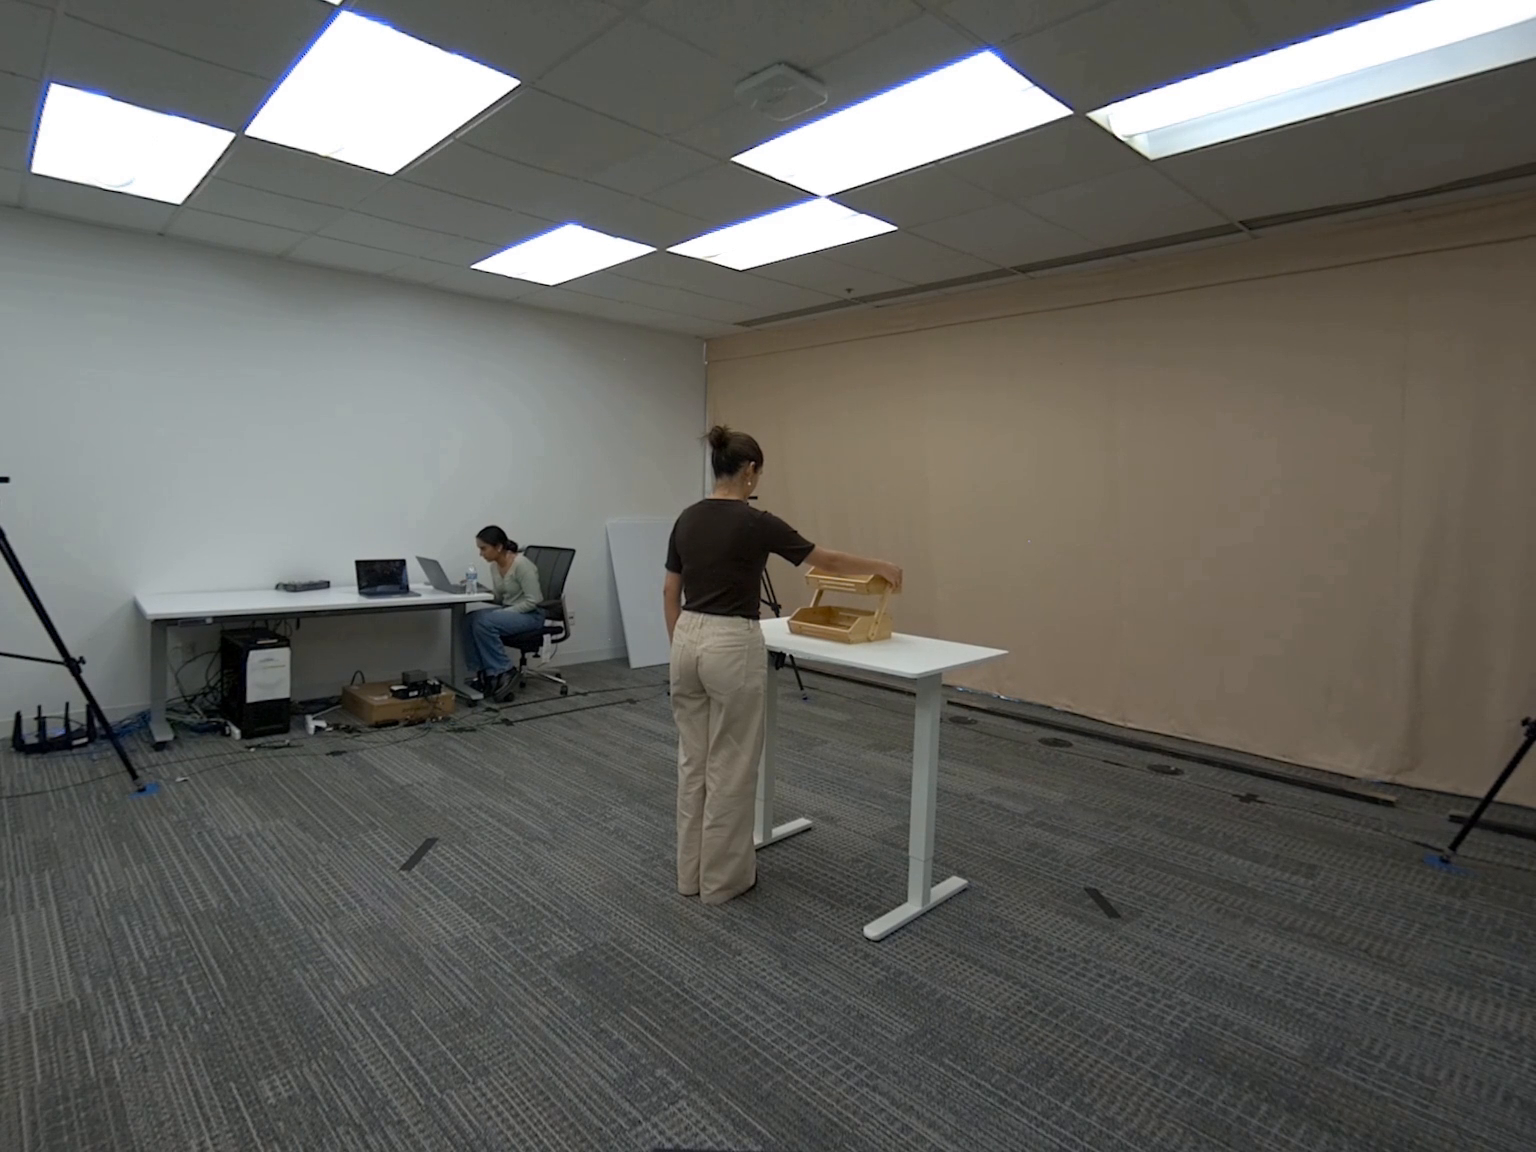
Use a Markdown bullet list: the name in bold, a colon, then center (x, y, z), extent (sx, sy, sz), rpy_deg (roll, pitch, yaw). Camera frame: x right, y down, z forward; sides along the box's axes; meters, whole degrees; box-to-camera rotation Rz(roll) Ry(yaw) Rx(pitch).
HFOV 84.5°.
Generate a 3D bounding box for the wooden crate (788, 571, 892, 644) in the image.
- **wooden crate**: center (0.281, 0.094, 3.170), extent (0.295, 0.272, 0.333), rpy_deg (-1, 6, -44)
